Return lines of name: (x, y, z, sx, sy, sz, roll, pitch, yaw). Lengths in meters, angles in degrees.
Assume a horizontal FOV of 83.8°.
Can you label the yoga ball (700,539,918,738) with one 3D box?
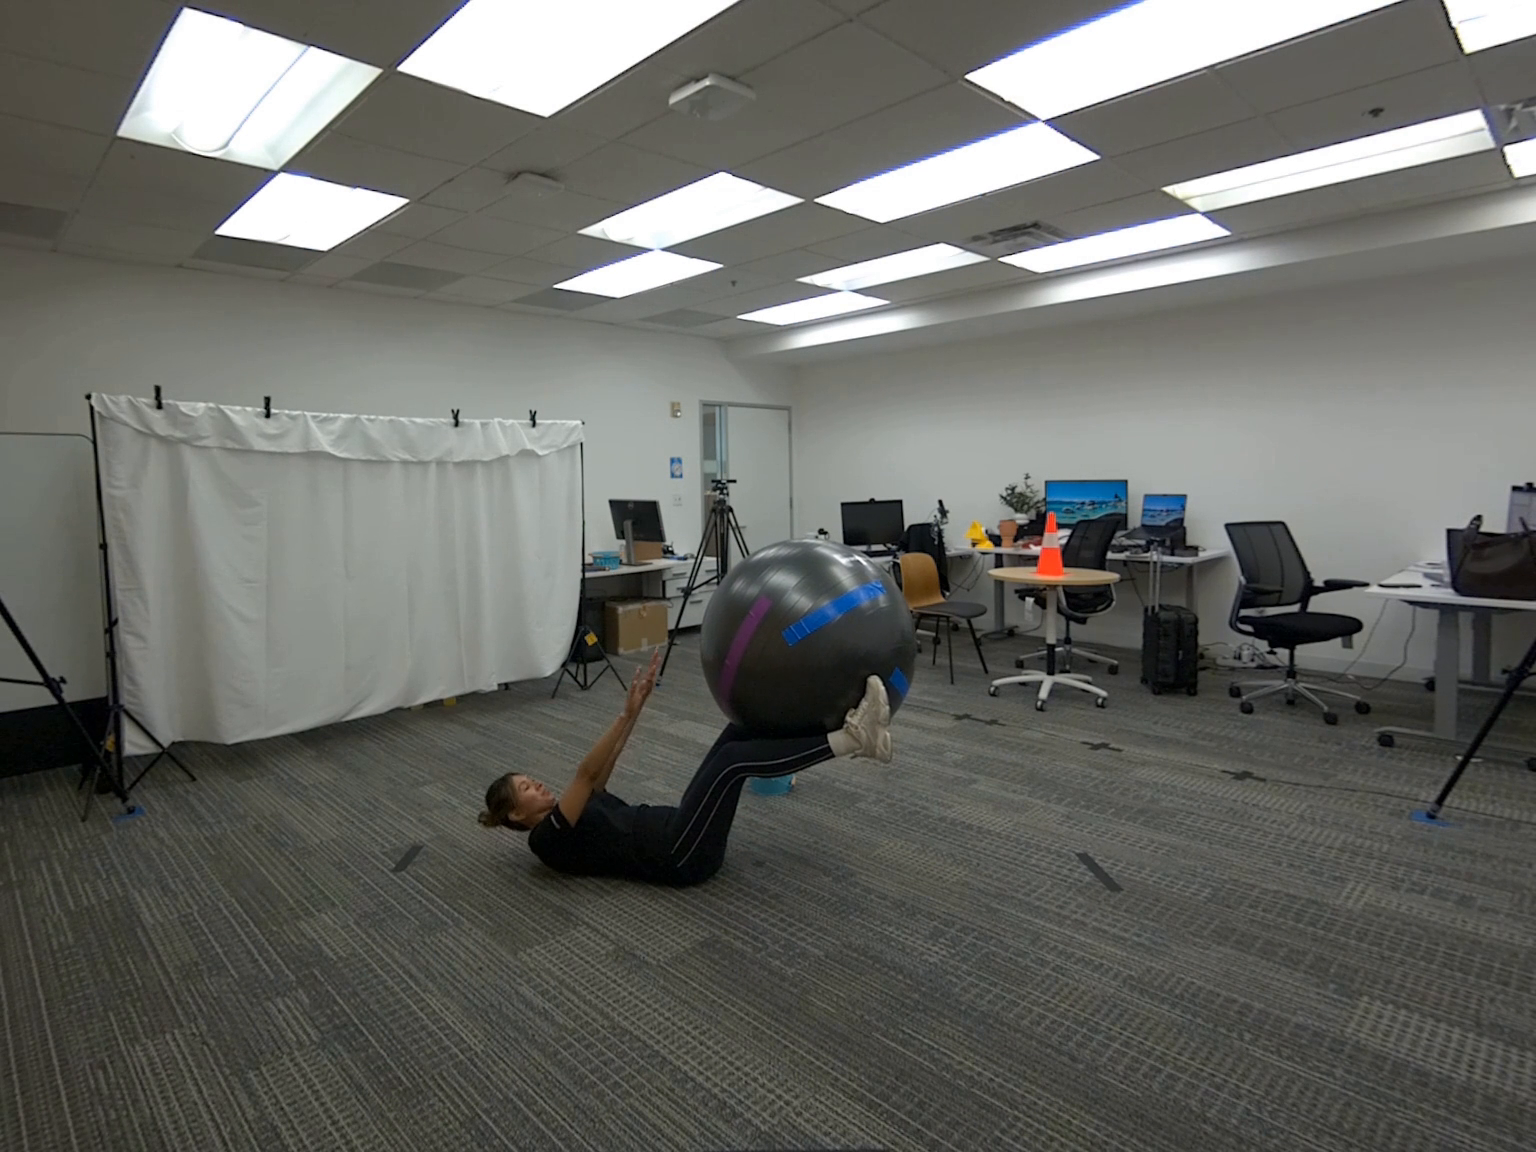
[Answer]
yoga ball: (0.133, 0.249, 3.008, 0.757, 0.755, 0.762, -1, 5, -2)
